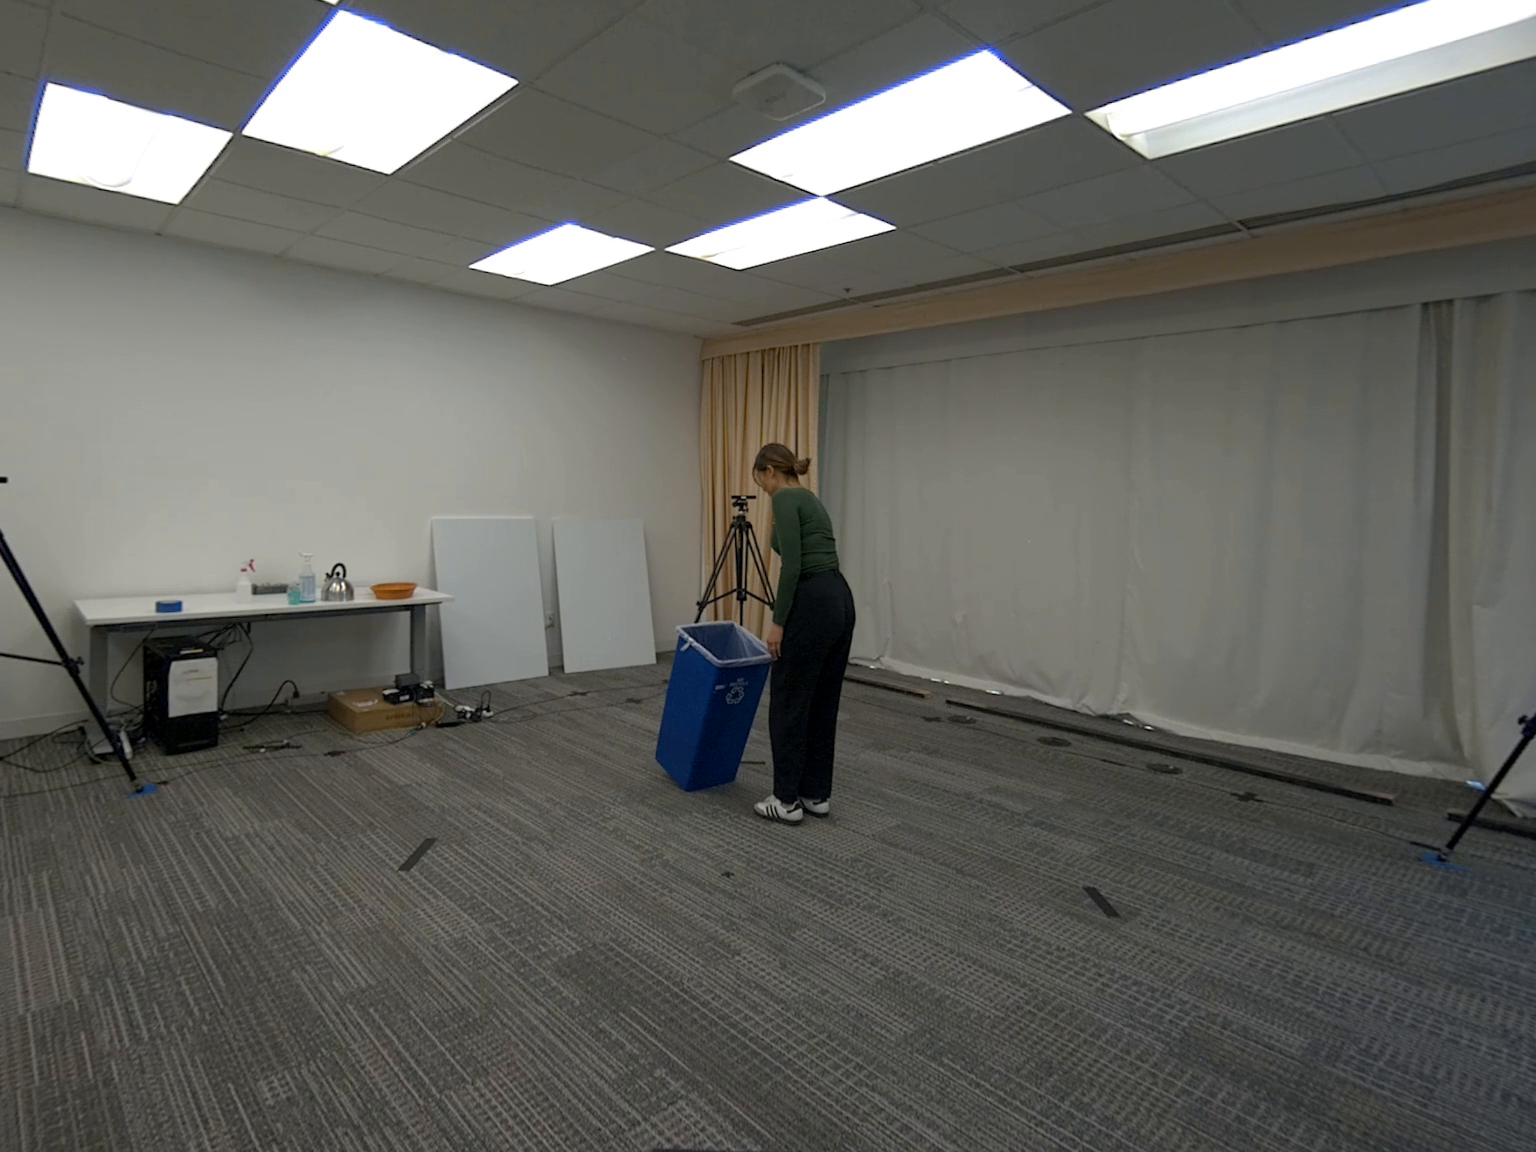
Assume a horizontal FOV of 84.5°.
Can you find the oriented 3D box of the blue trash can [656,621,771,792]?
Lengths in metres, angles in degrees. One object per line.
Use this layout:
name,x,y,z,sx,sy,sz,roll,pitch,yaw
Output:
blue trash can,-0.296,0.626,4.056,0.369,0.707,0.386,-2,24,-40
